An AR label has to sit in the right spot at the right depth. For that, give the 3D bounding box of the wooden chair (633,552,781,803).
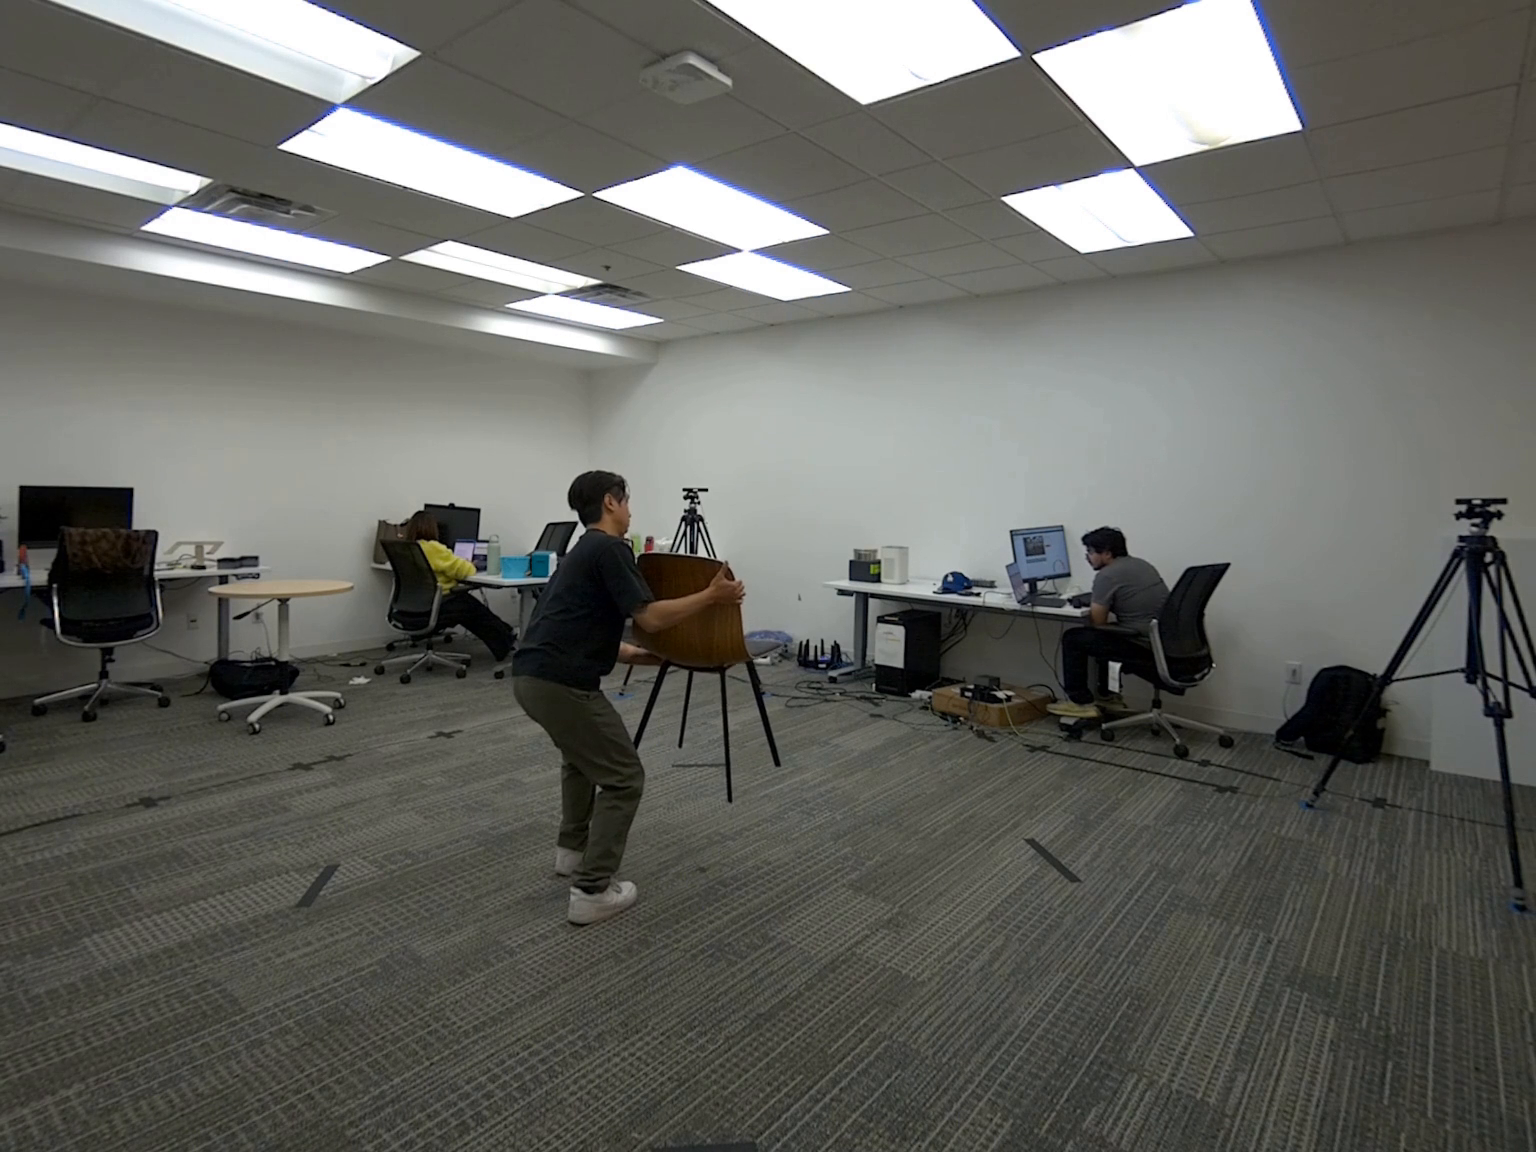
[{"bbox_3d":[-0.235,0.321,3.183,0.490,0.871,0.514,3,8,24],"label":"wooden chair"}]
